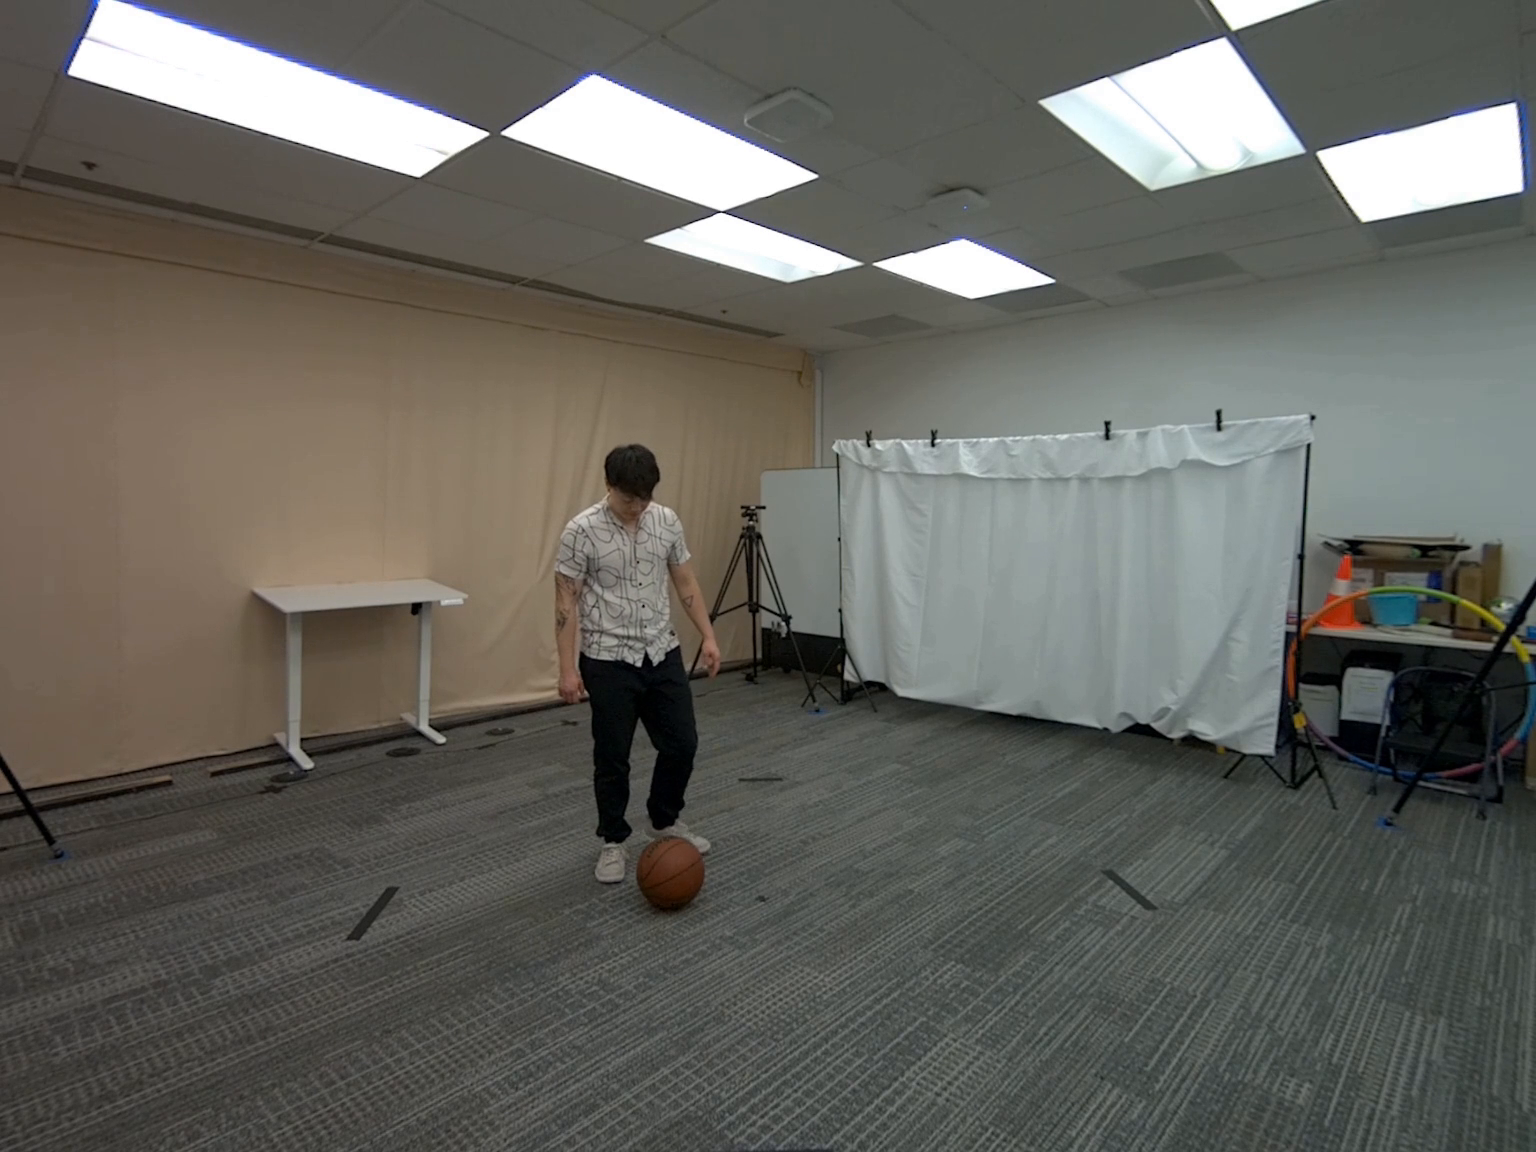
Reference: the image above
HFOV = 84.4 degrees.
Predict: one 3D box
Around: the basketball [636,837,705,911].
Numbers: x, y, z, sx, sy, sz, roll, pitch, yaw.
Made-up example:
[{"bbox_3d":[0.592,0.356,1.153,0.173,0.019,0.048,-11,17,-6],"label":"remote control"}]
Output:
[{"bbox_3d":[-0.338,1.028,2.931,0.236,0.235,0.237,0,4,-2],"label":"basketball"}]
